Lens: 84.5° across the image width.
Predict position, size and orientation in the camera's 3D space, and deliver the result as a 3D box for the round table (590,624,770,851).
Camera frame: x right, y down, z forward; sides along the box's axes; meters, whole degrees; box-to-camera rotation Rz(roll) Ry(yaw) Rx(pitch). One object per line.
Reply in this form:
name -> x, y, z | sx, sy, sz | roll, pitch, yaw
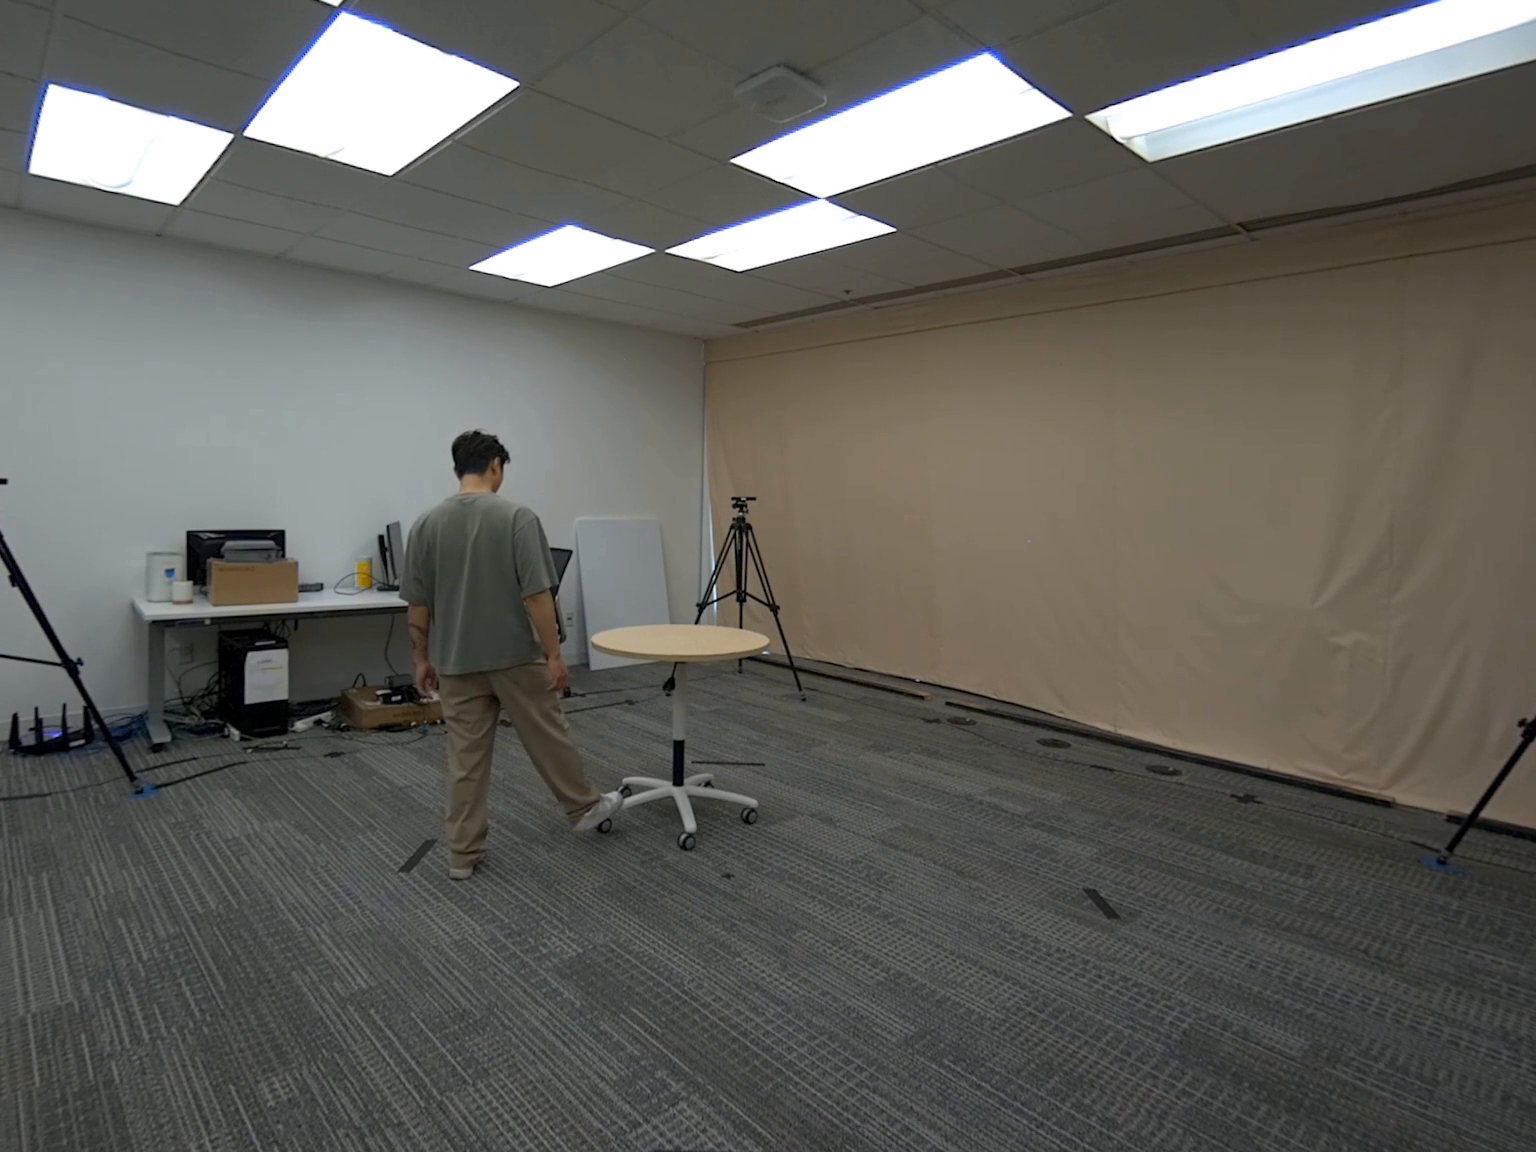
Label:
round table -> -0.395, 0.660, 3.635 | 0.784, 0.785, 0.787 | 1, 4, -1
